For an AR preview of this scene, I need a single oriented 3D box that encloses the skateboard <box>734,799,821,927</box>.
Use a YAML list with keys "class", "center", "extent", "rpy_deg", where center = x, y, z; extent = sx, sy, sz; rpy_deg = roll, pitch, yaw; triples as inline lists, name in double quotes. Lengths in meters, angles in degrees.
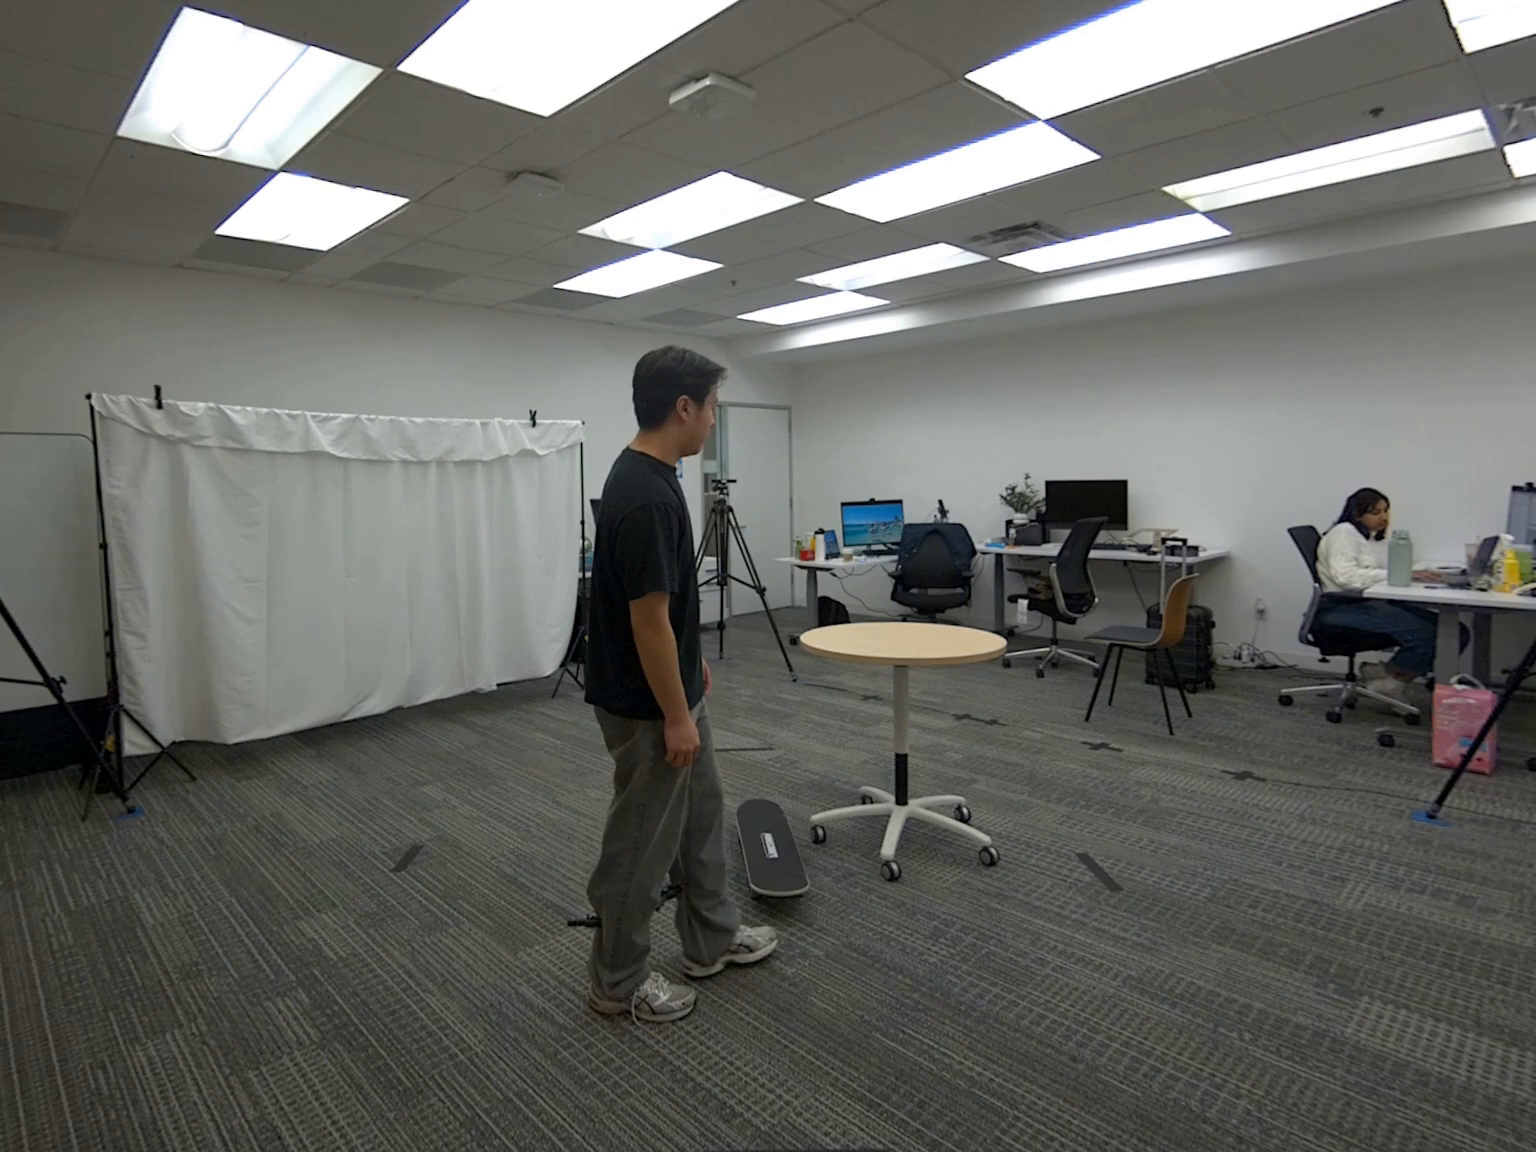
- class: "skateboard"
  center: [0.013, 0.997, 3.058]
  extent: [0.192, 0.110, 0.793]
  rpy_deg: [-1, 6, -7]
